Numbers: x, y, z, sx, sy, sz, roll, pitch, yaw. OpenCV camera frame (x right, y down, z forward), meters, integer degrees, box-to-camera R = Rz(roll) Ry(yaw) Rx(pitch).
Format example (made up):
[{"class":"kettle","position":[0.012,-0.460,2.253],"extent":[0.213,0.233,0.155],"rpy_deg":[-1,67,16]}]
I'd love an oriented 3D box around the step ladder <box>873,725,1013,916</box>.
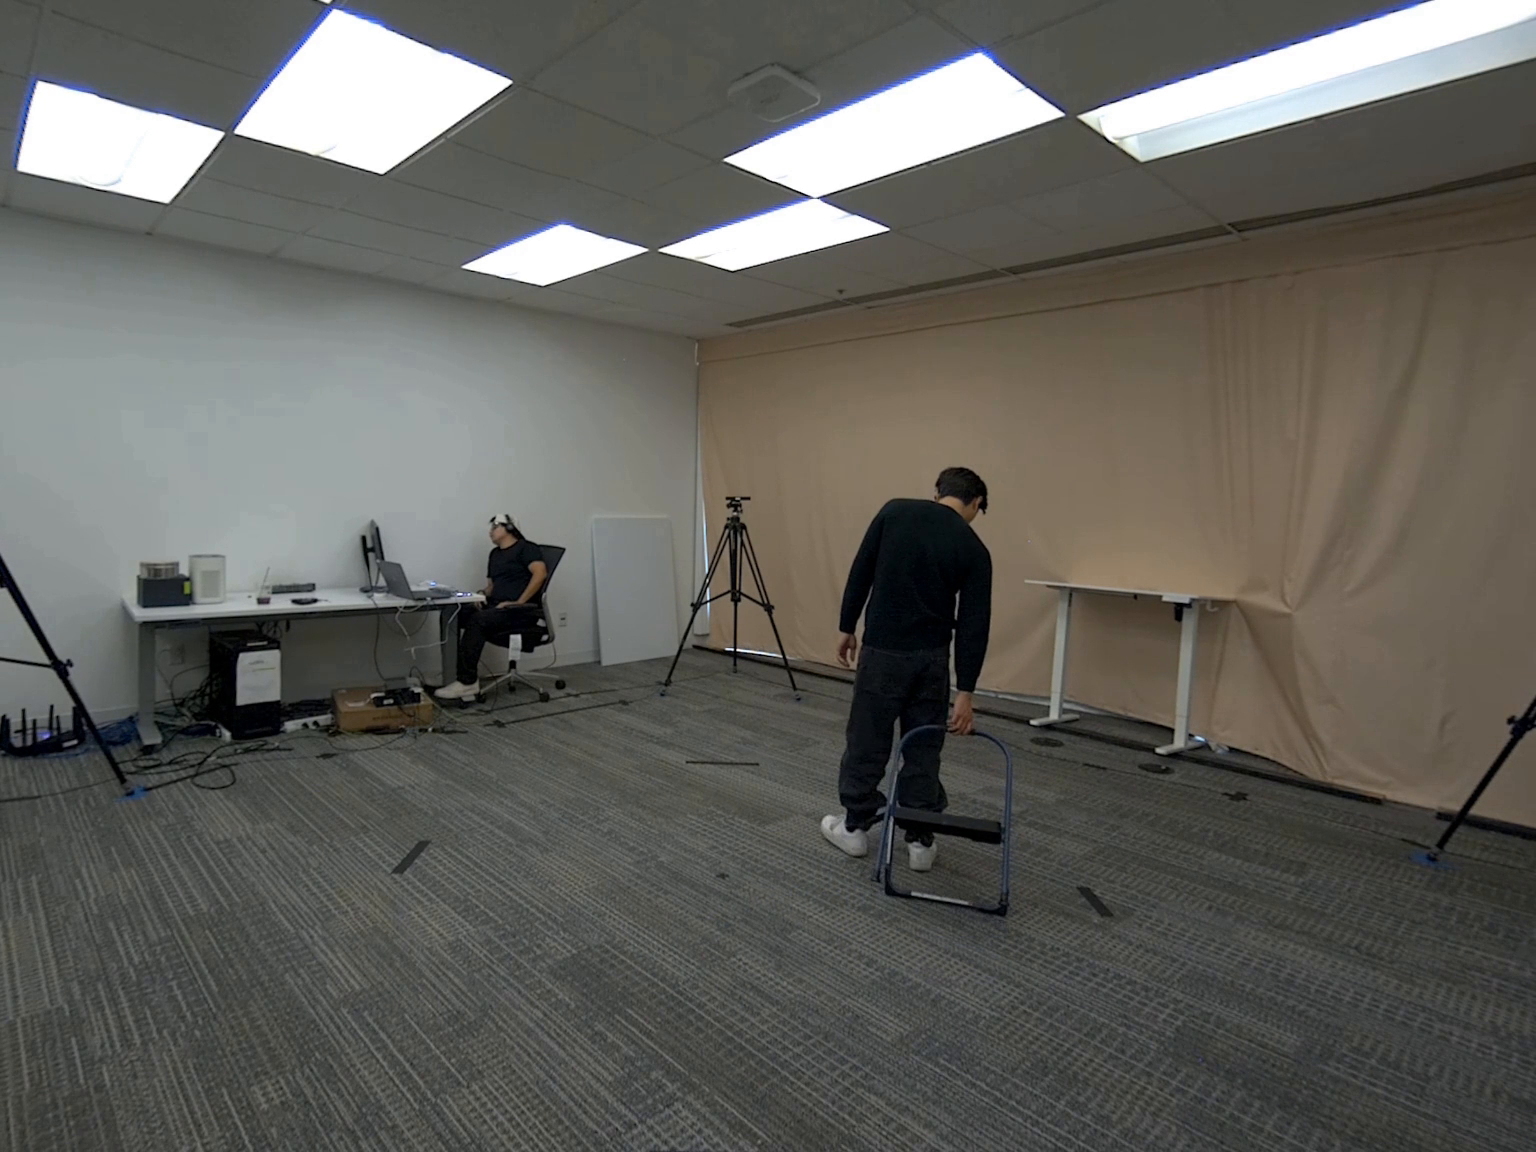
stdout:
[{"class":"step ladder","position":[0.628,0.806,2.918],"extent":[0.437,0.614,0.340],"rpy_deg":[3,-27,16]}]
